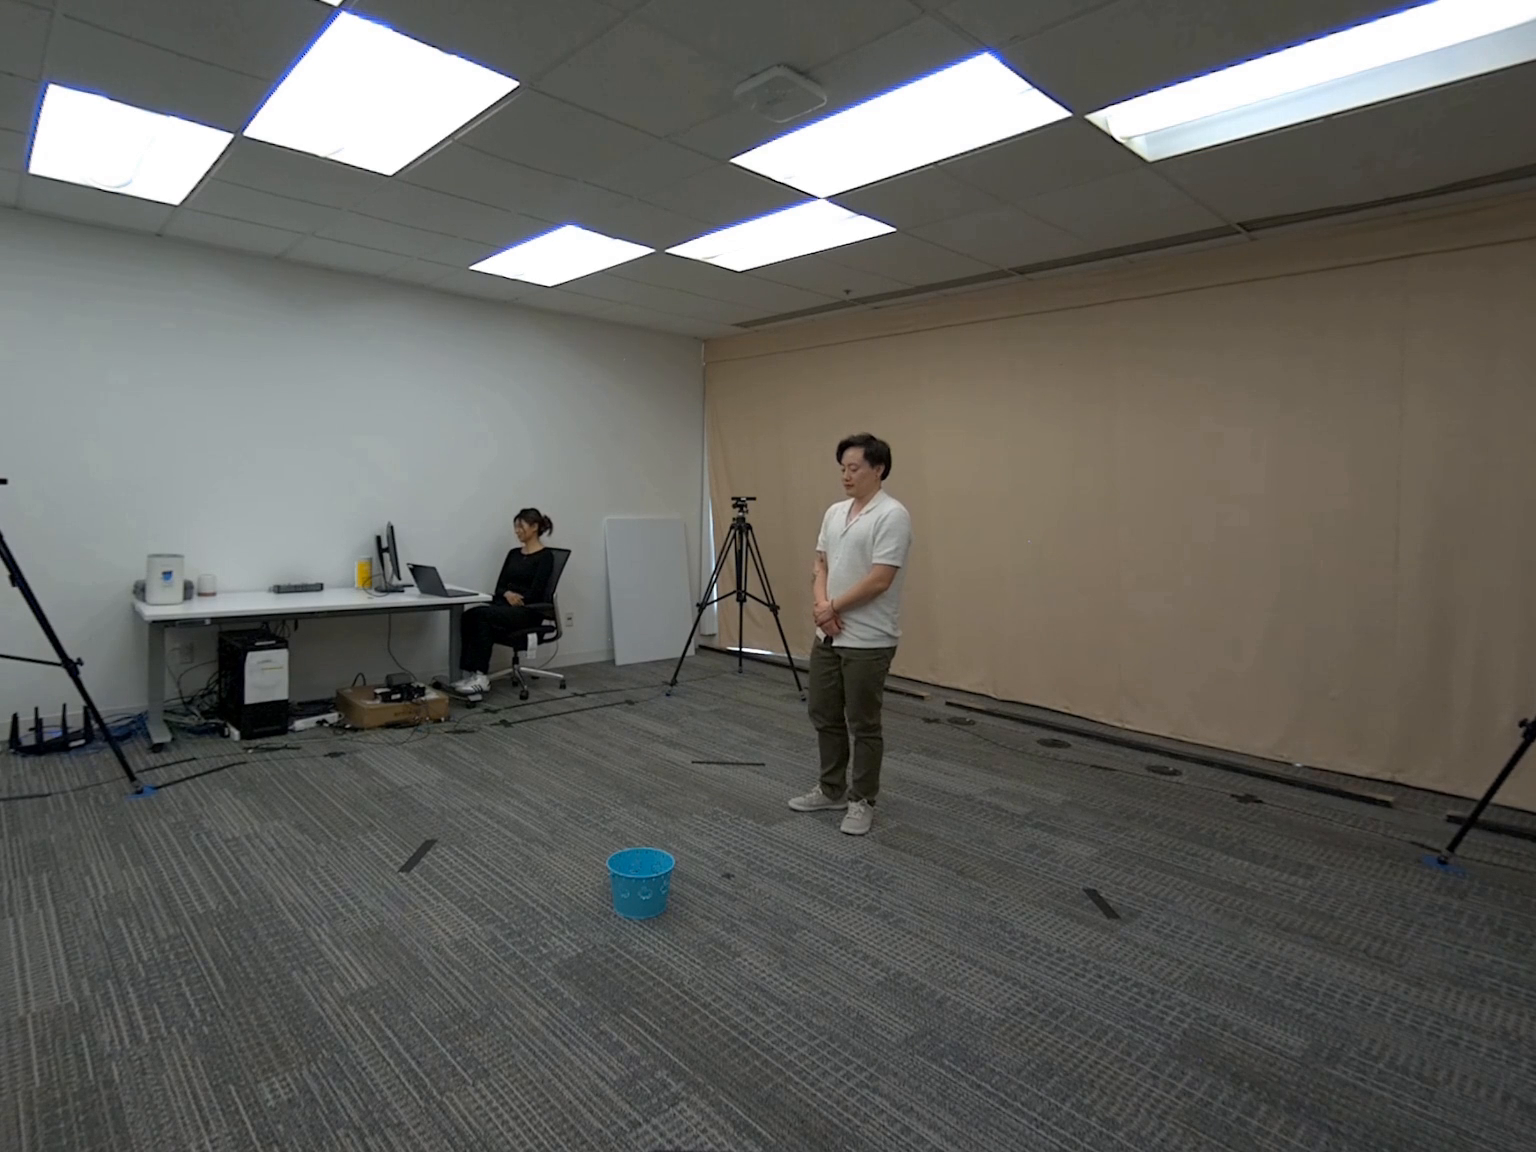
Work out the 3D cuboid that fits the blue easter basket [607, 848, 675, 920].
[{"bbox_3d":[-0.440,1.043,2.864,0.243,0.155,0.244,1,5,-1],"label":"blue easter basket"}]
